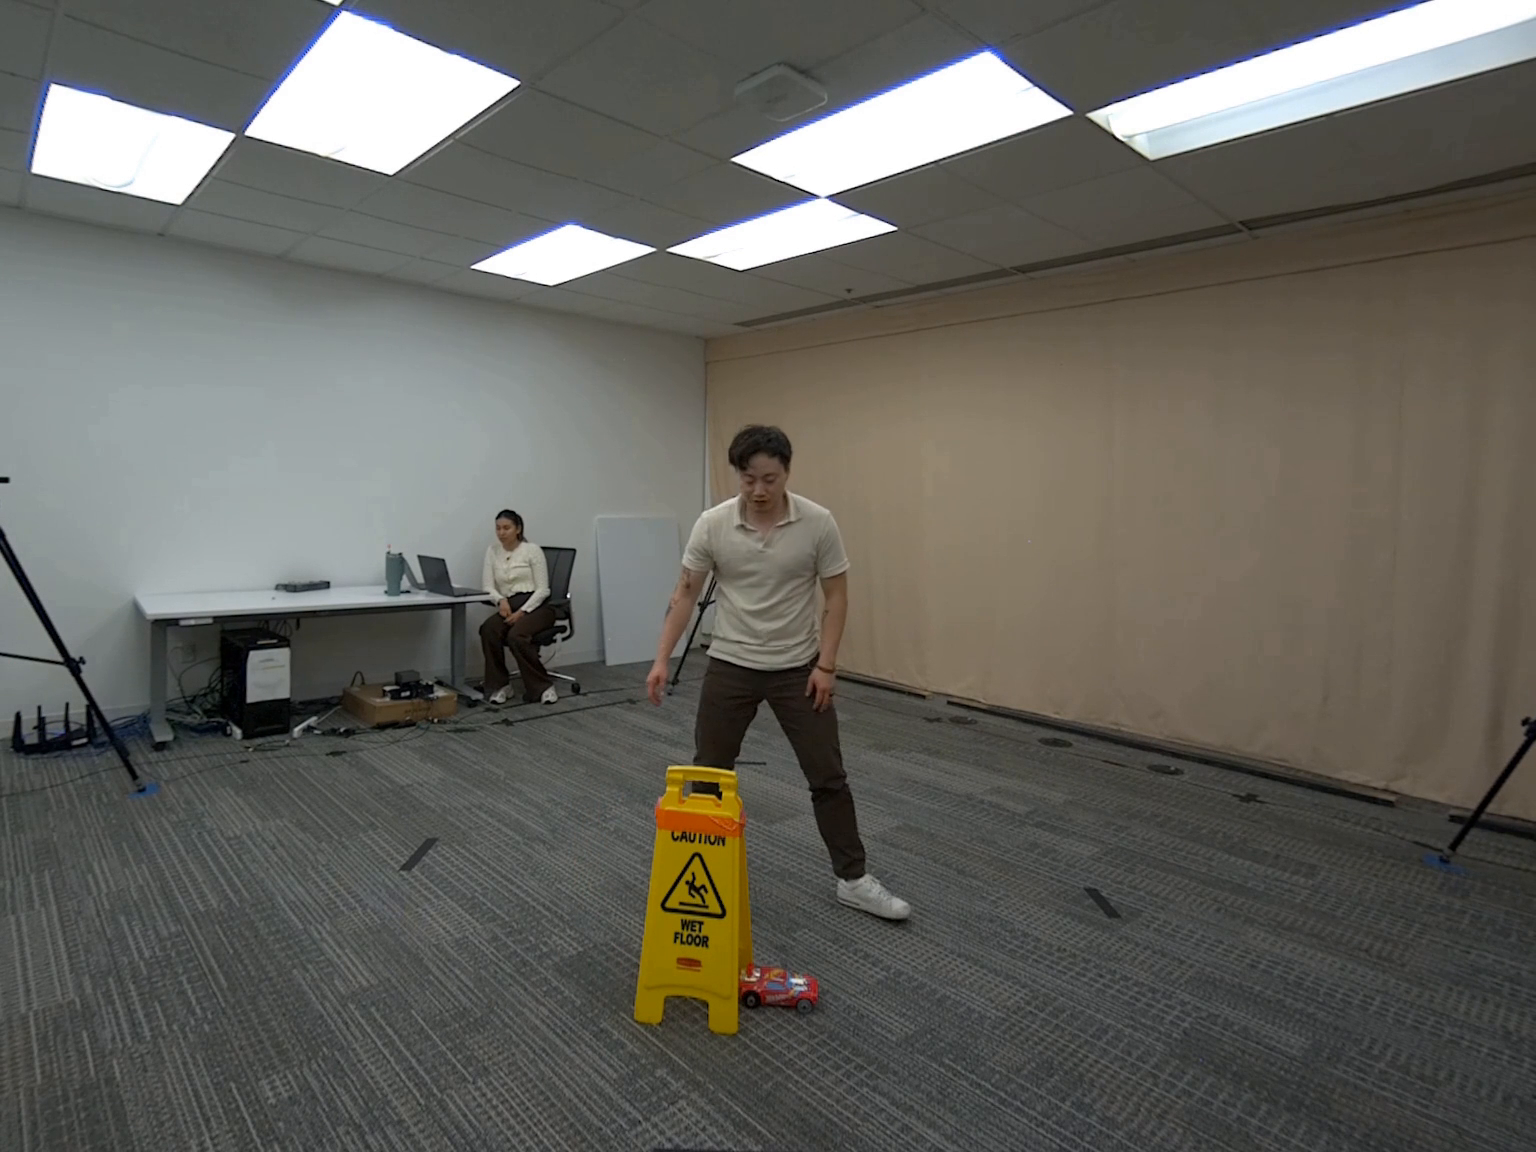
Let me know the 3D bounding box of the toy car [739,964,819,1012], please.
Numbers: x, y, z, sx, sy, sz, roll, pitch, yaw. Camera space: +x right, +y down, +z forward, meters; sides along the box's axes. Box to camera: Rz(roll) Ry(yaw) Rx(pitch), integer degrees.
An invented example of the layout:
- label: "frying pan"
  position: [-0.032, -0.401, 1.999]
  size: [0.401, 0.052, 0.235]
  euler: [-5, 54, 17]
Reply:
- label: "toy car"
  position: [0.004, 1.149, 2.330]
  size: [0.256, 0.083, 0.130]
  euler: [13, 6, 5]
